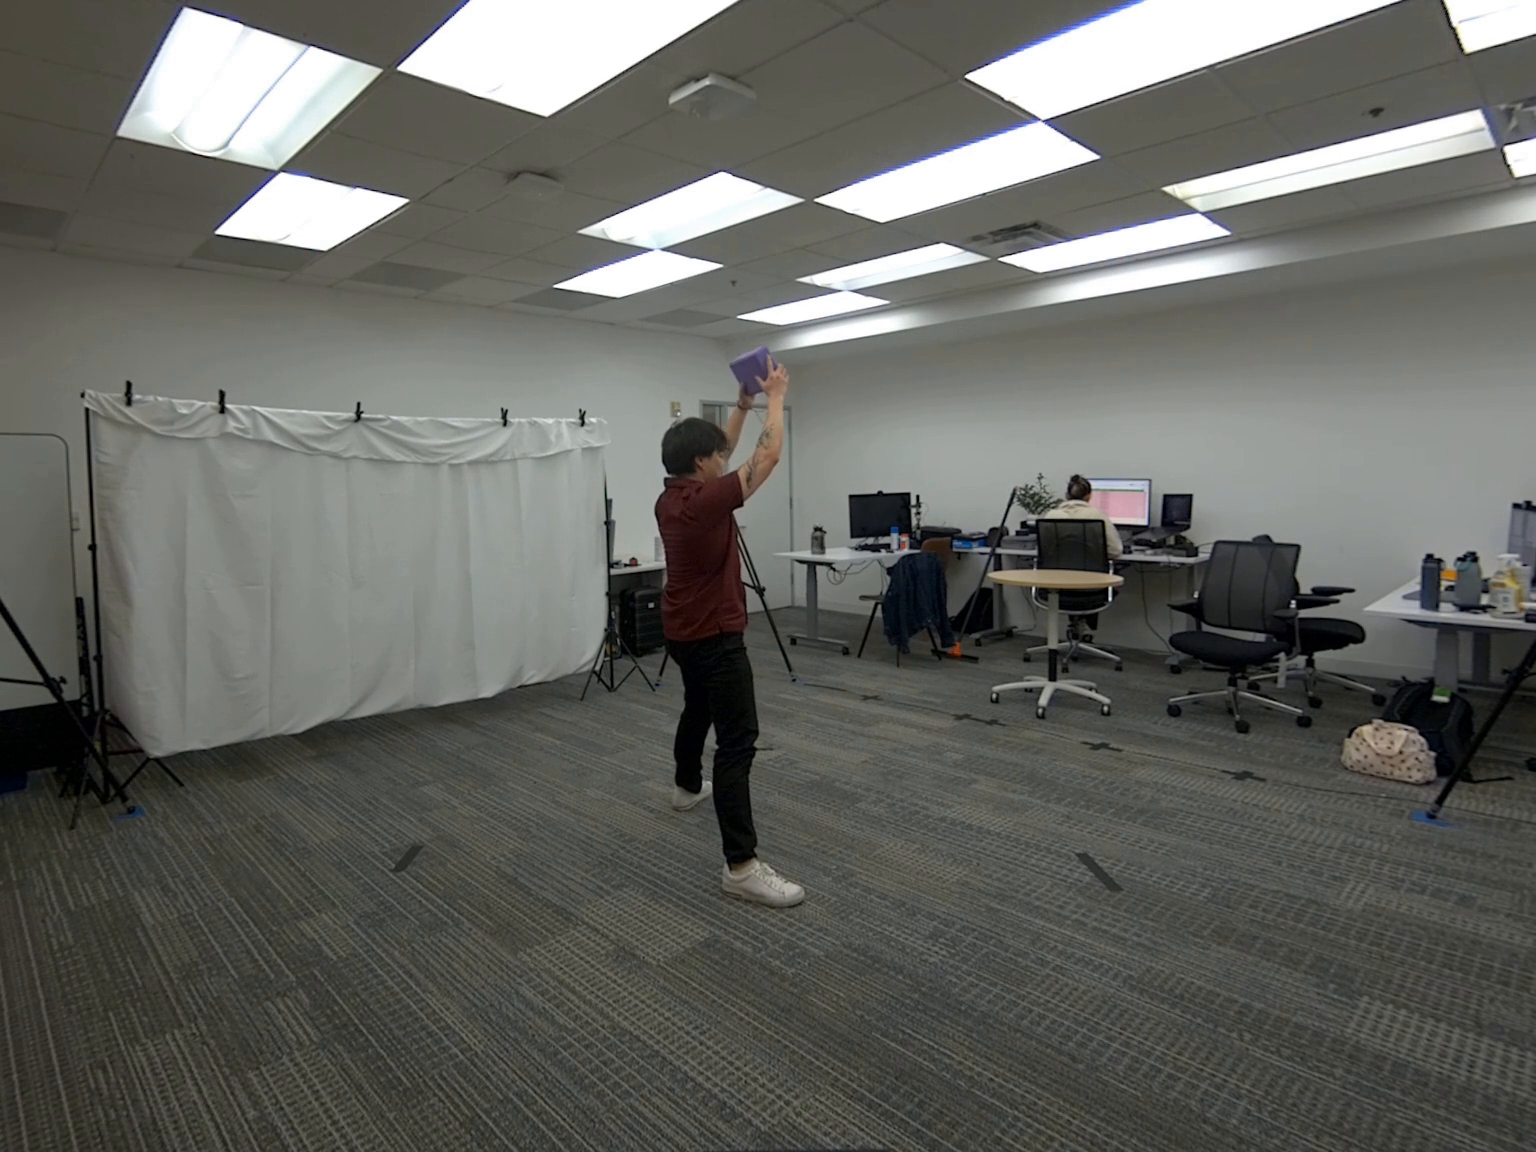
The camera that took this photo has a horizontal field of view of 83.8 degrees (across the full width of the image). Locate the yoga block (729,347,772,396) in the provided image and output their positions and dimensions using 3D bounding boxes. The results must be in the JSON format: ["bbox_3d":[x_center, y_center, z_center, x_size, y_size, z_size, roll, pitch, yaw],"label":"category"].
[{"bbox_3d":[-0.032,-0.774,3.269,0.076,0.146,0.234,-36,15,-19],"label":"yoga block"}]
